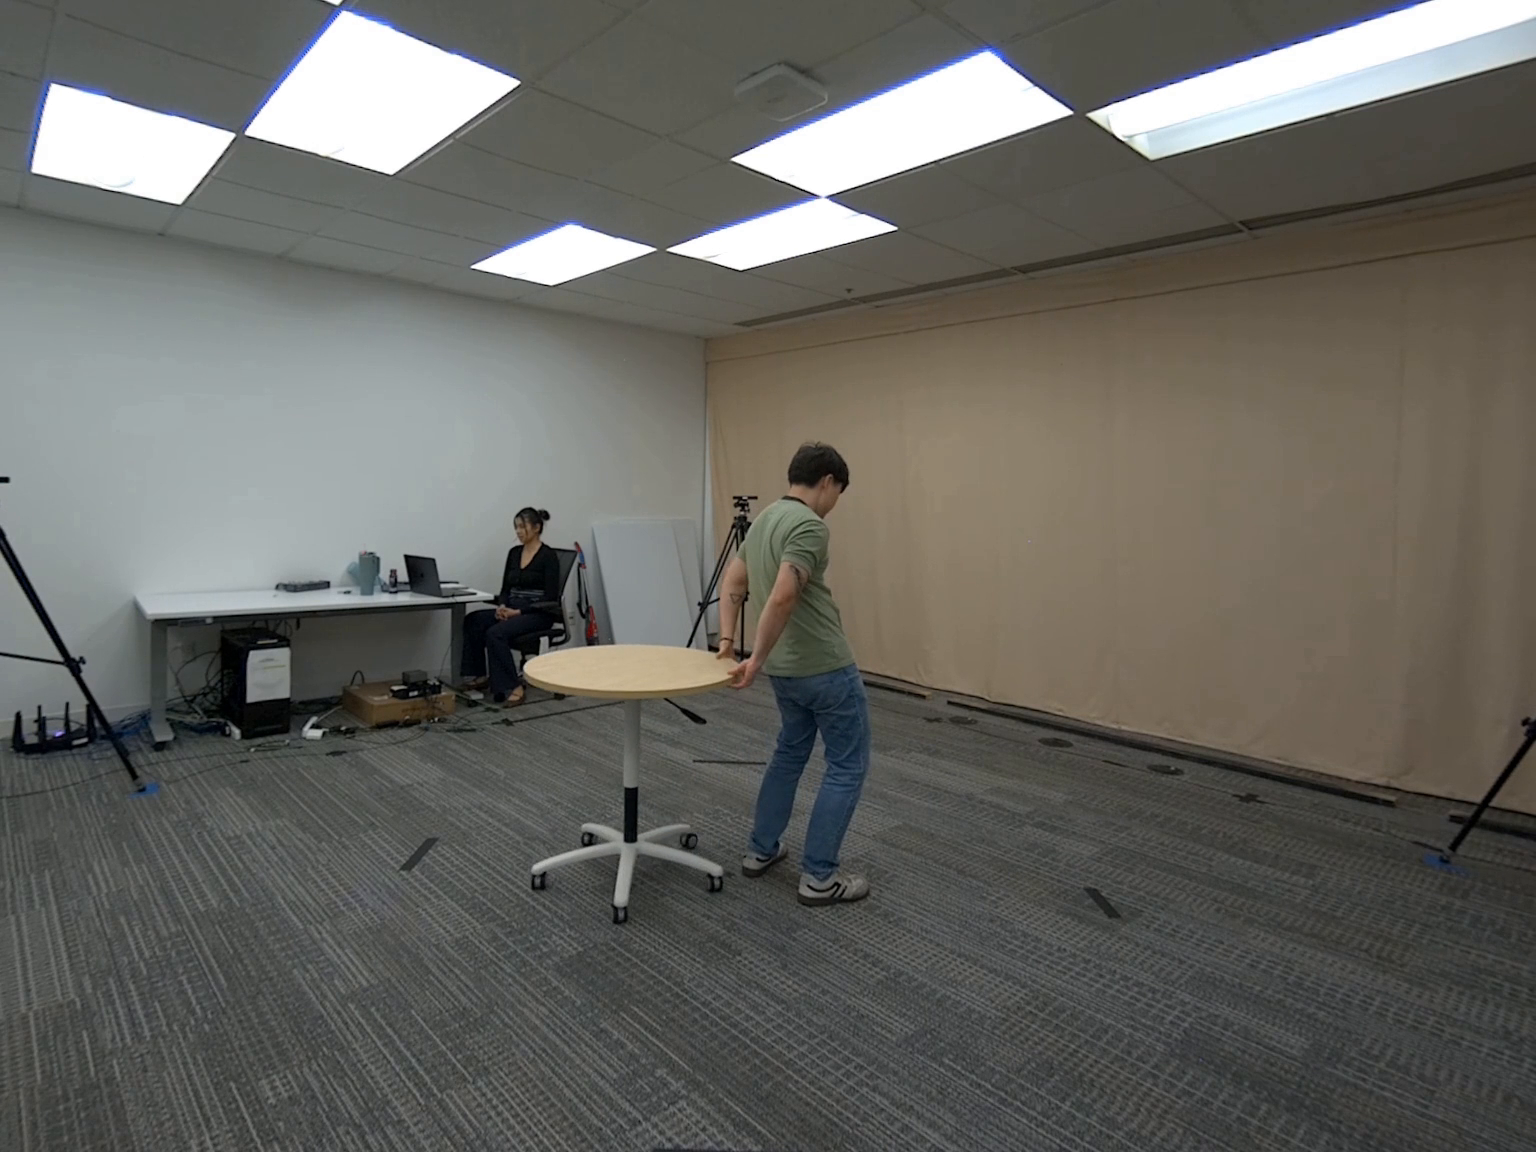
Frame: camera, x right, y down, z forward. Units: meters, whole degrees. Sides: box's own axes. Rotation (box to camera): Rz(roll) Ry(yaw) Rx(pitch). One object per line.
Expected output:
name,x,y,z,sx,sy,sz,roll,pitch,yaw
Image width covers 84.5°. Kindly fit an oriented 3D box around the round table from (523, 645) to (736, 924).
round table,-0.486,0.711,3.033,0.763,0.791,0.767,1,5,-1
